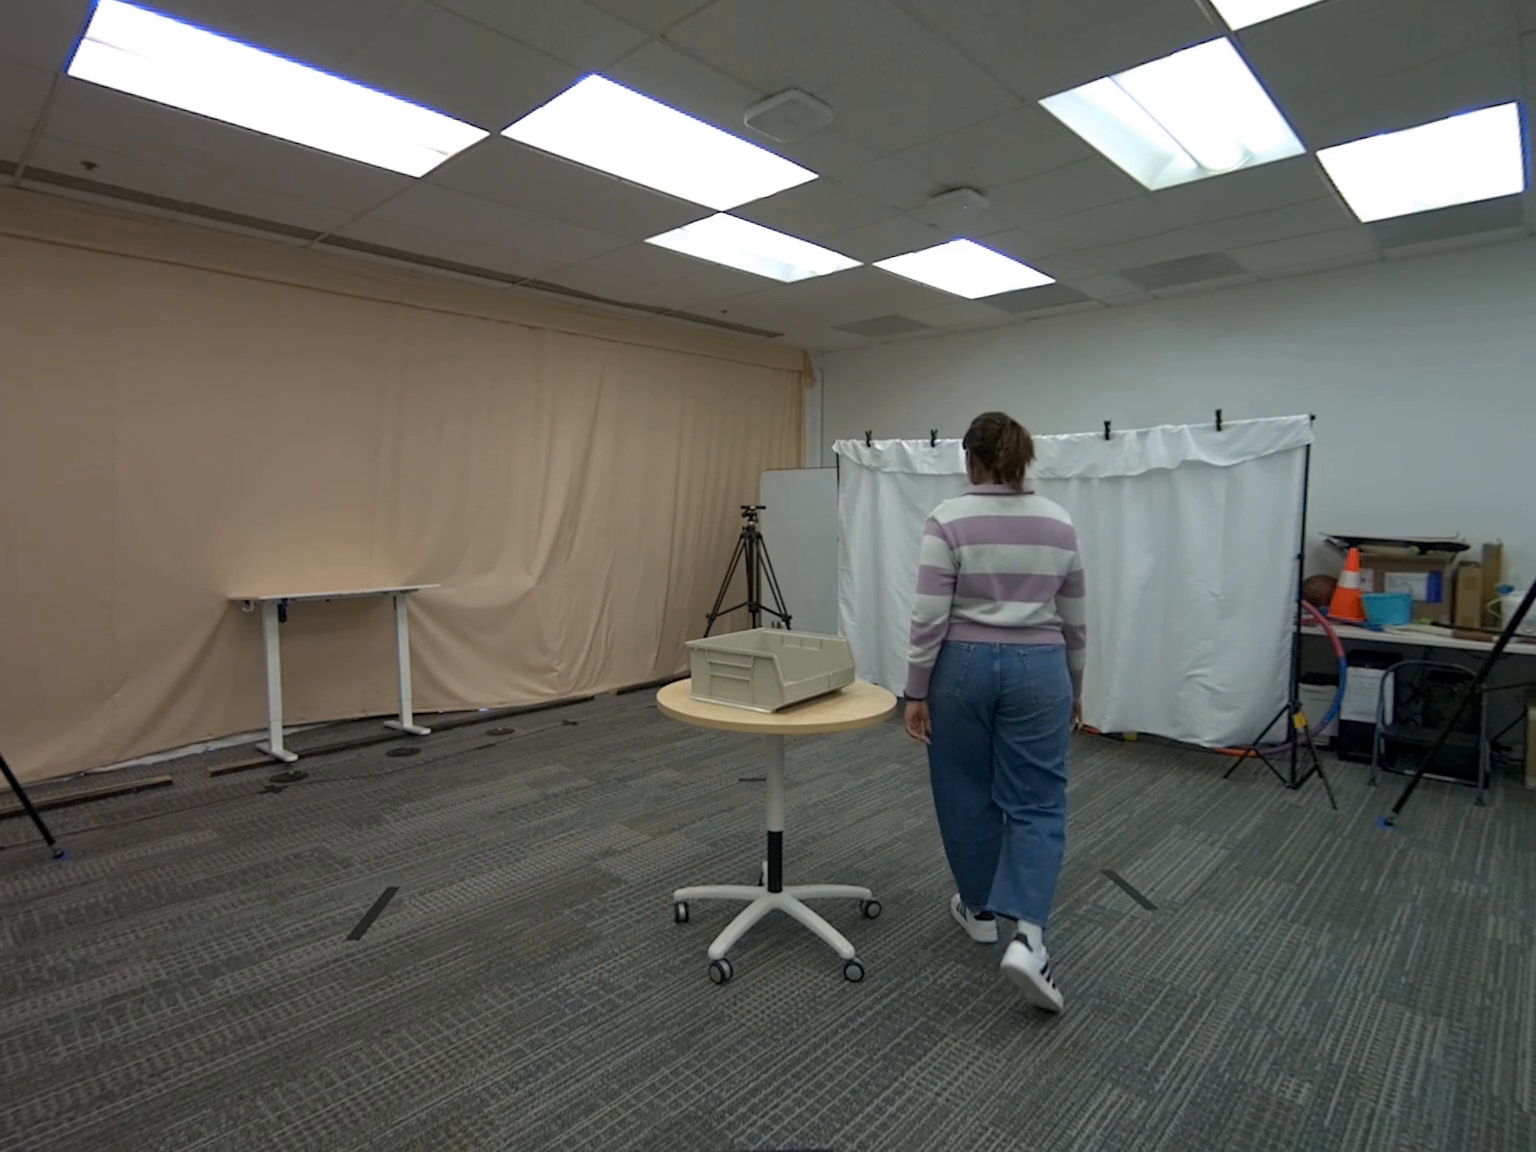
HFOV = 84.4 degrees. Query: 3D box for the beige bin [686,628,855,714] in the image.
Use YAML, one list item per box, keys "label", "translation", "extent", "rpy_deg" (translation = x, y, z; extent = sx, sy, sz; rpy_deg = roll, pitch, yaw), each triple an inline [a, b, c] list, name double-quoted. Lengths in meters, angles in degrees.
- label: "beige bin"
  translation: [0.017, 0.297, 2.689]
  extent: [0.389, 0.188, 0.410]
  rpy_deg: [2, 5, 37]
